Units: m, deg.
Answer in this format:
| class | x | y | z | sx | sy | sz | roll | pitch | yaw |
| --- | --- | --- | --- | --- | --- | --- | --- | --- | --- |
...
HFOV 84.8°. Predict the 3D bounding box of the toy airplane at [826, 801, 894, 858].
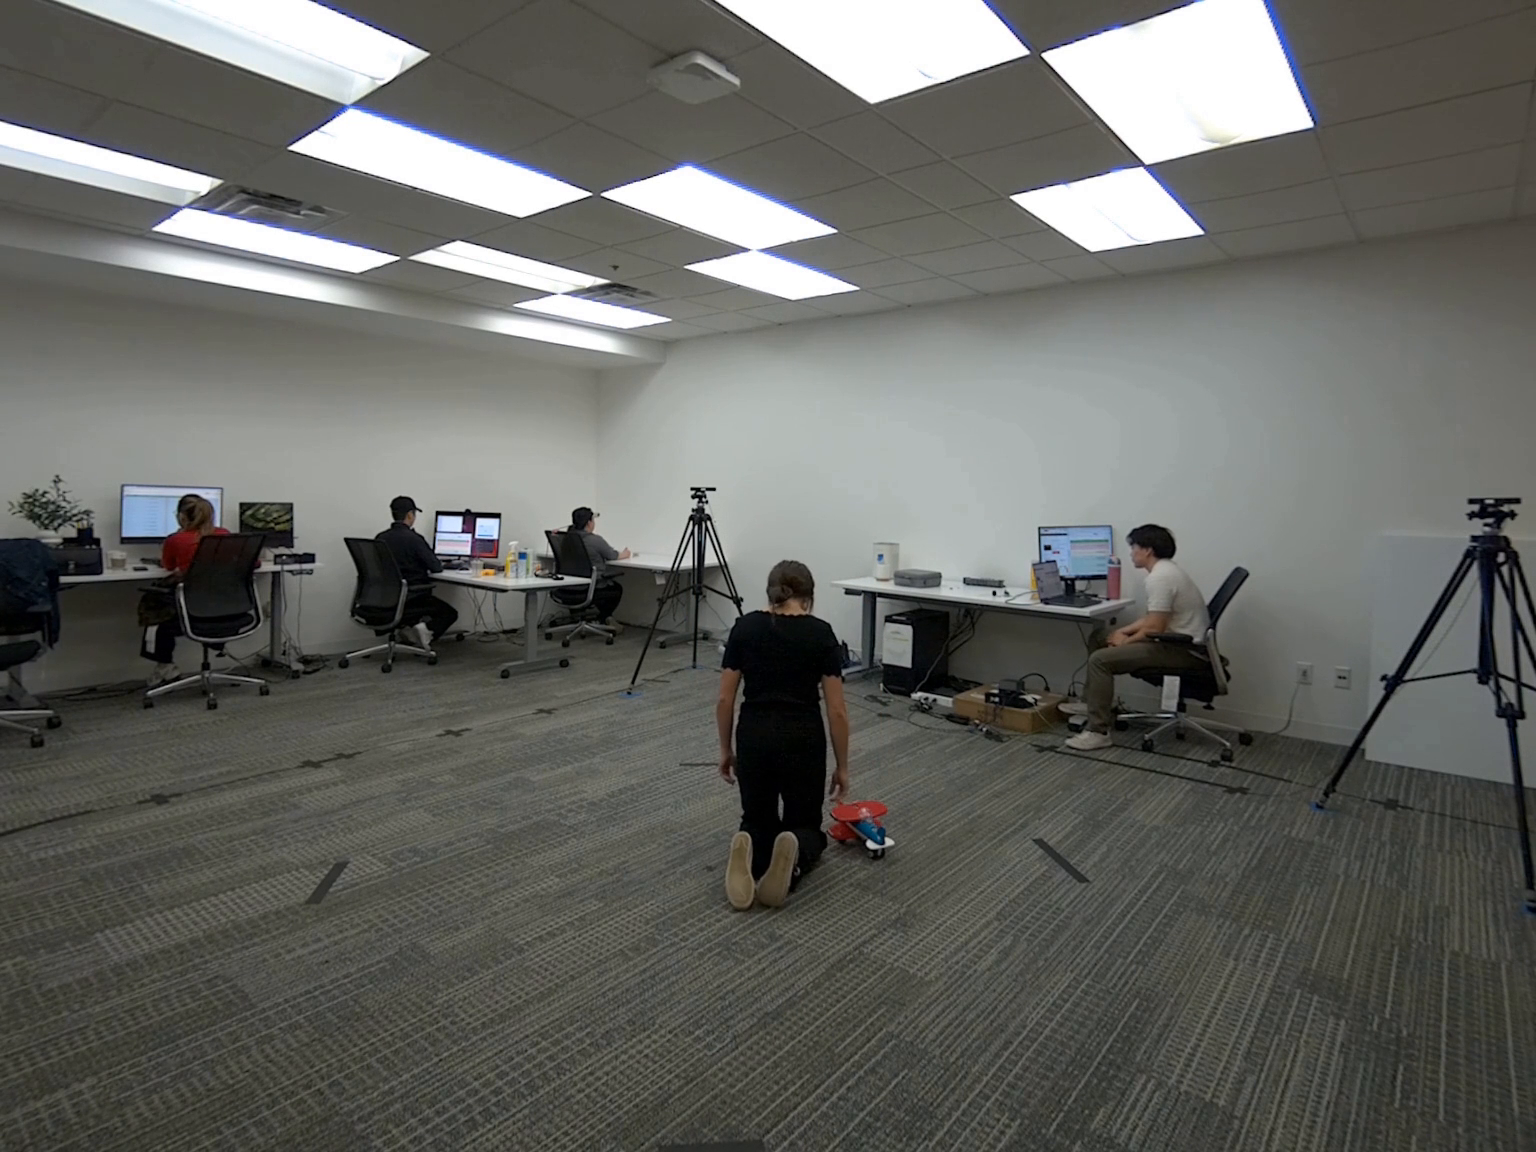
| class | x | y | z | sx | sy | sz | roll | pitch | yaw |
| --- | --- | --- | --- | --- | --- | --- | --- | --- | --- |
| toy airplane | 0.375 | 0.988 | 3.323 | 0.267 | 0.156 | 0.244 | 4 | 4 | 32 |
